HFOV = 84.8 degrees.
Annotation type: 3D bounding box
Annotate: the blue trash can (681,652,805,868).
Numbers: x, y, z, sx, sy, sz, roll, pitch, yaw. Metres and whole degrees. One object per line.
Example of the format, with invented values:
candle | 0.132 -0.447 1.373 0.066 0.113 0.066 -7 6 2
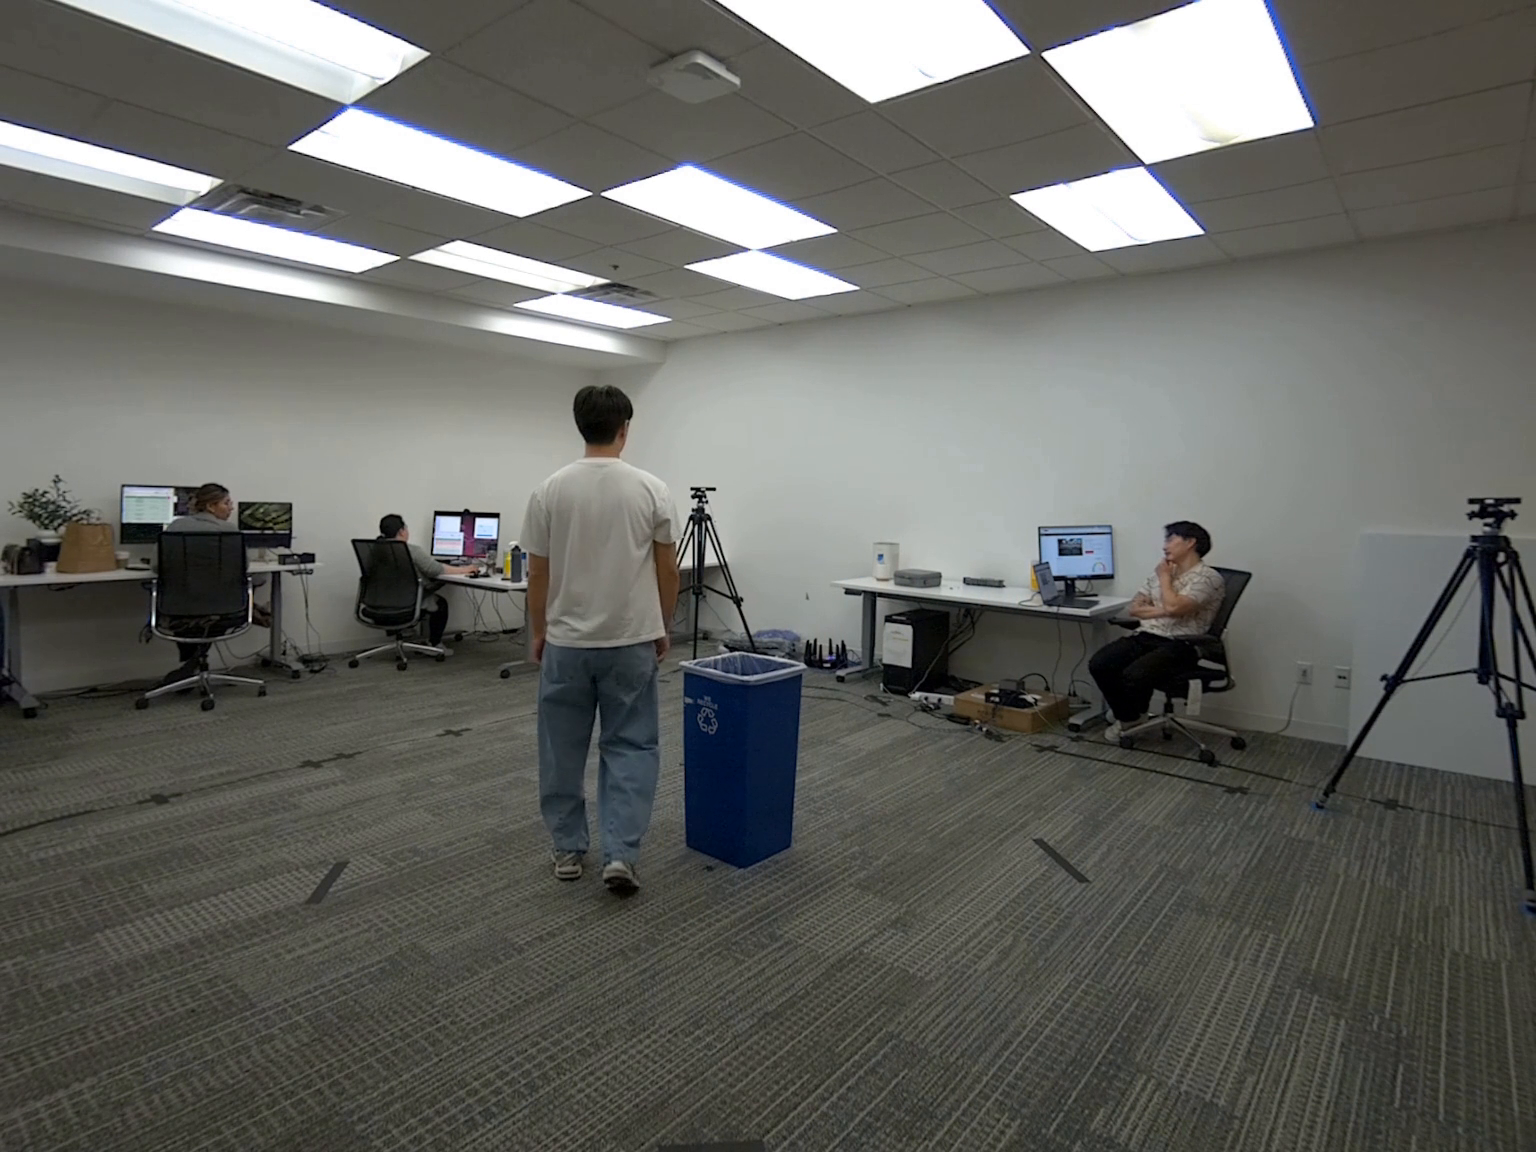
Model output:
blue trash can | -0.106 0.691 3.293 0.386 0.712 0.367 3 4 40
